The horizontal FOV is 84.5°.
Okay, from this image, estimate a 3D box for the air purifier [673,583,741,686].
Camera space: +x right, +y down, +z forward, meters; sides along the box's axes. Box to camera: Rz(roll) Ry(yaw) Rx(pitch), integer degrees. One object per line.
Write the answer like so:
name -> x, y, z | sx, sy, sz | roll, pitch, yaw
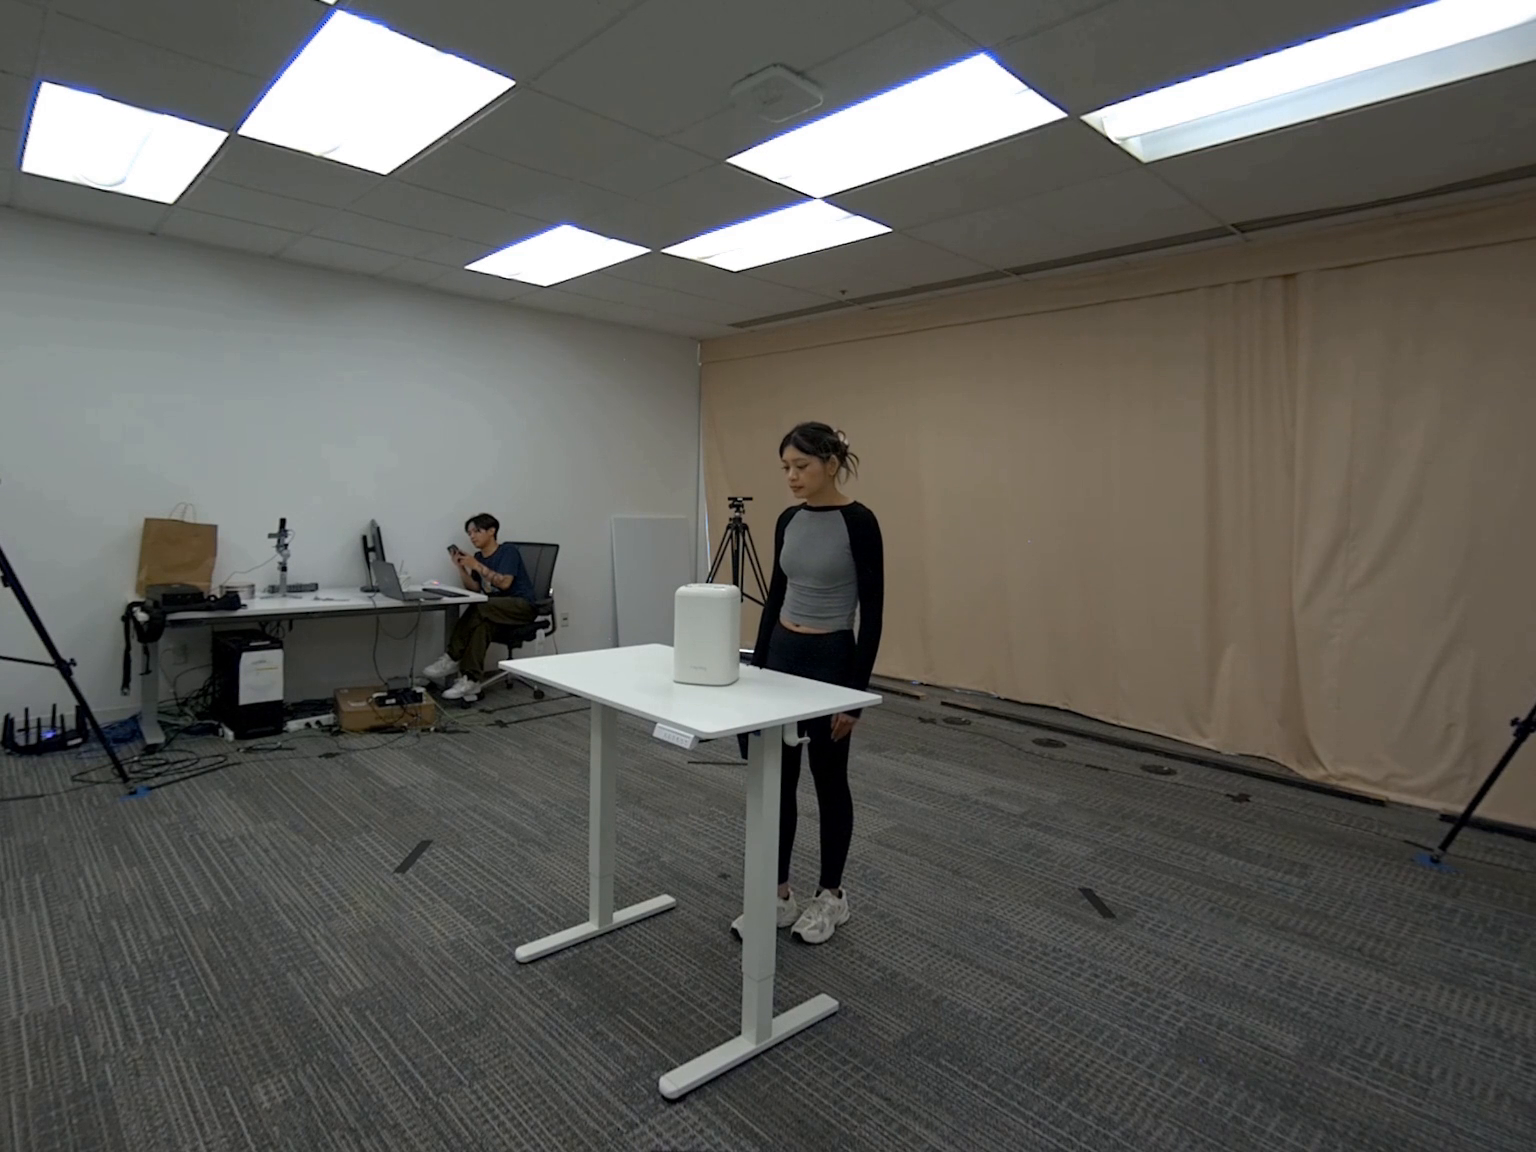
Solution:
air purifier -> -0.173, 0.161, 2.349 | 0.173, 0.265, 0.170 | 2, 3, 16
